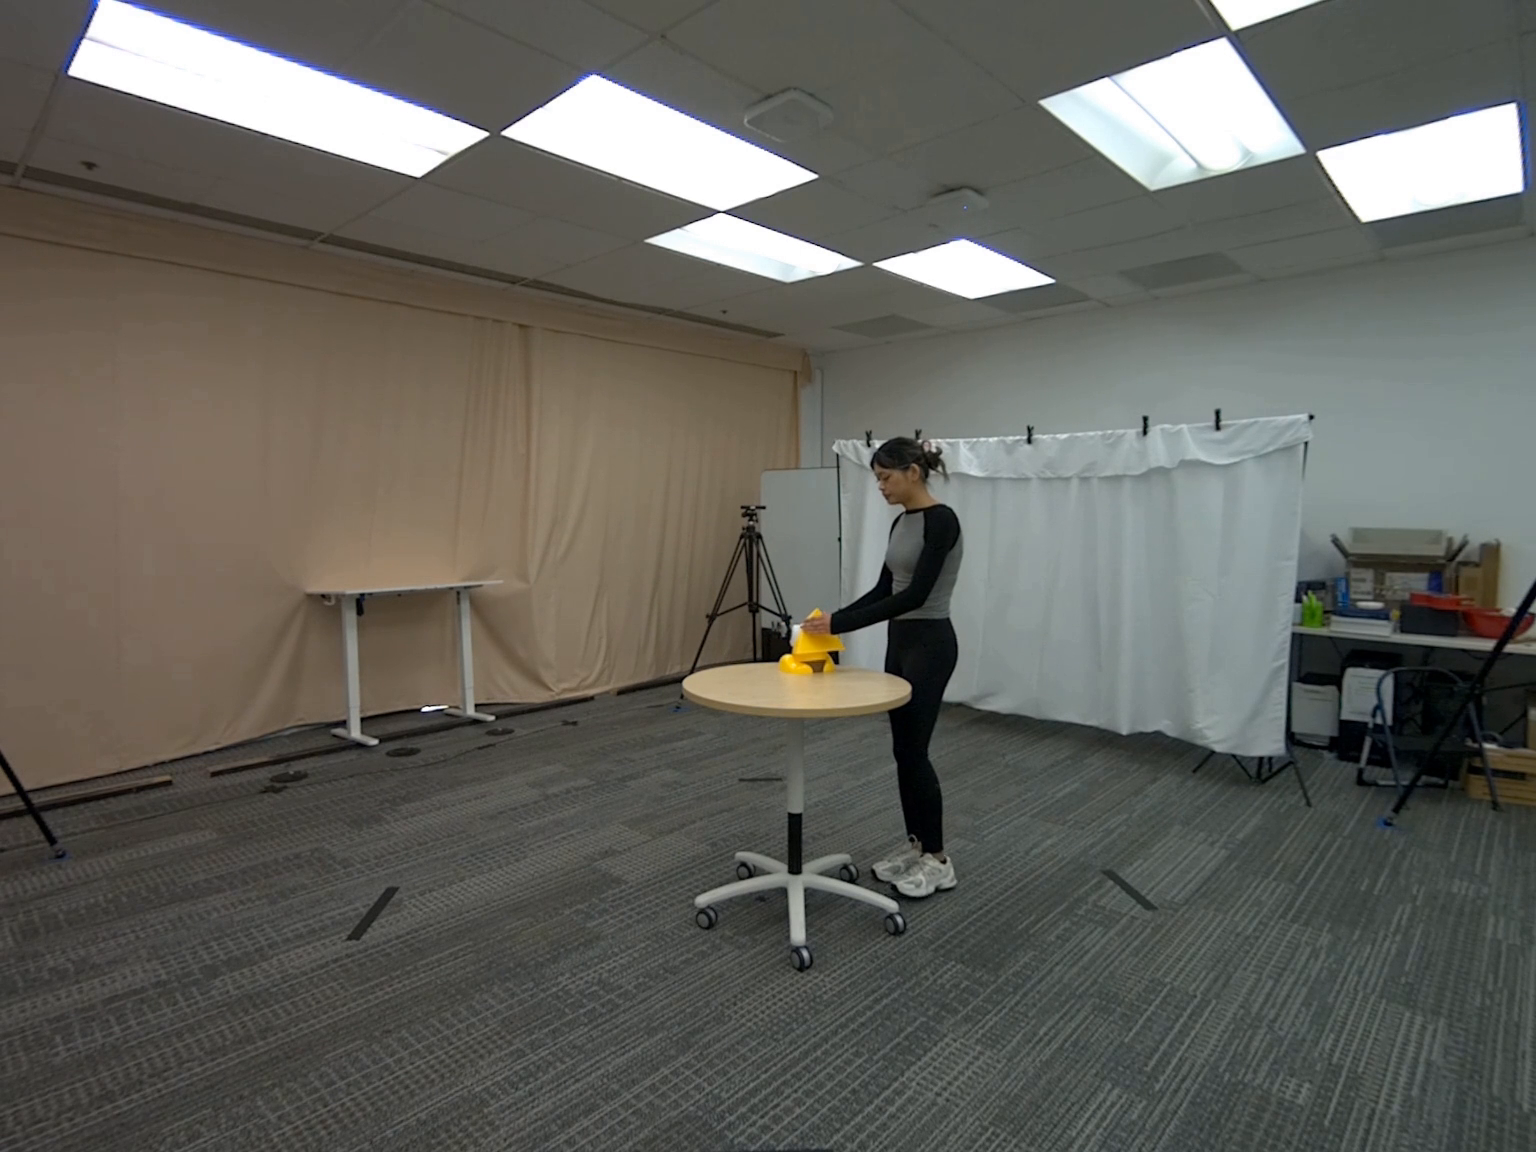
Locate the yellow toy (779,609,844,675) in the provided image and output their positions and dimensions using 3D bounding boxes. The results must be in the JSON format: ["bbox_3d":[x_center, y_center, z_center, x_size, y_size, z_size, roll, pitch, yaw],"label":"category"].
[{"bbox_3d":[0.149,0.231,3.090,0.199,0.230,0.198,-2,4,-30],"label":"yellow toy"}]
